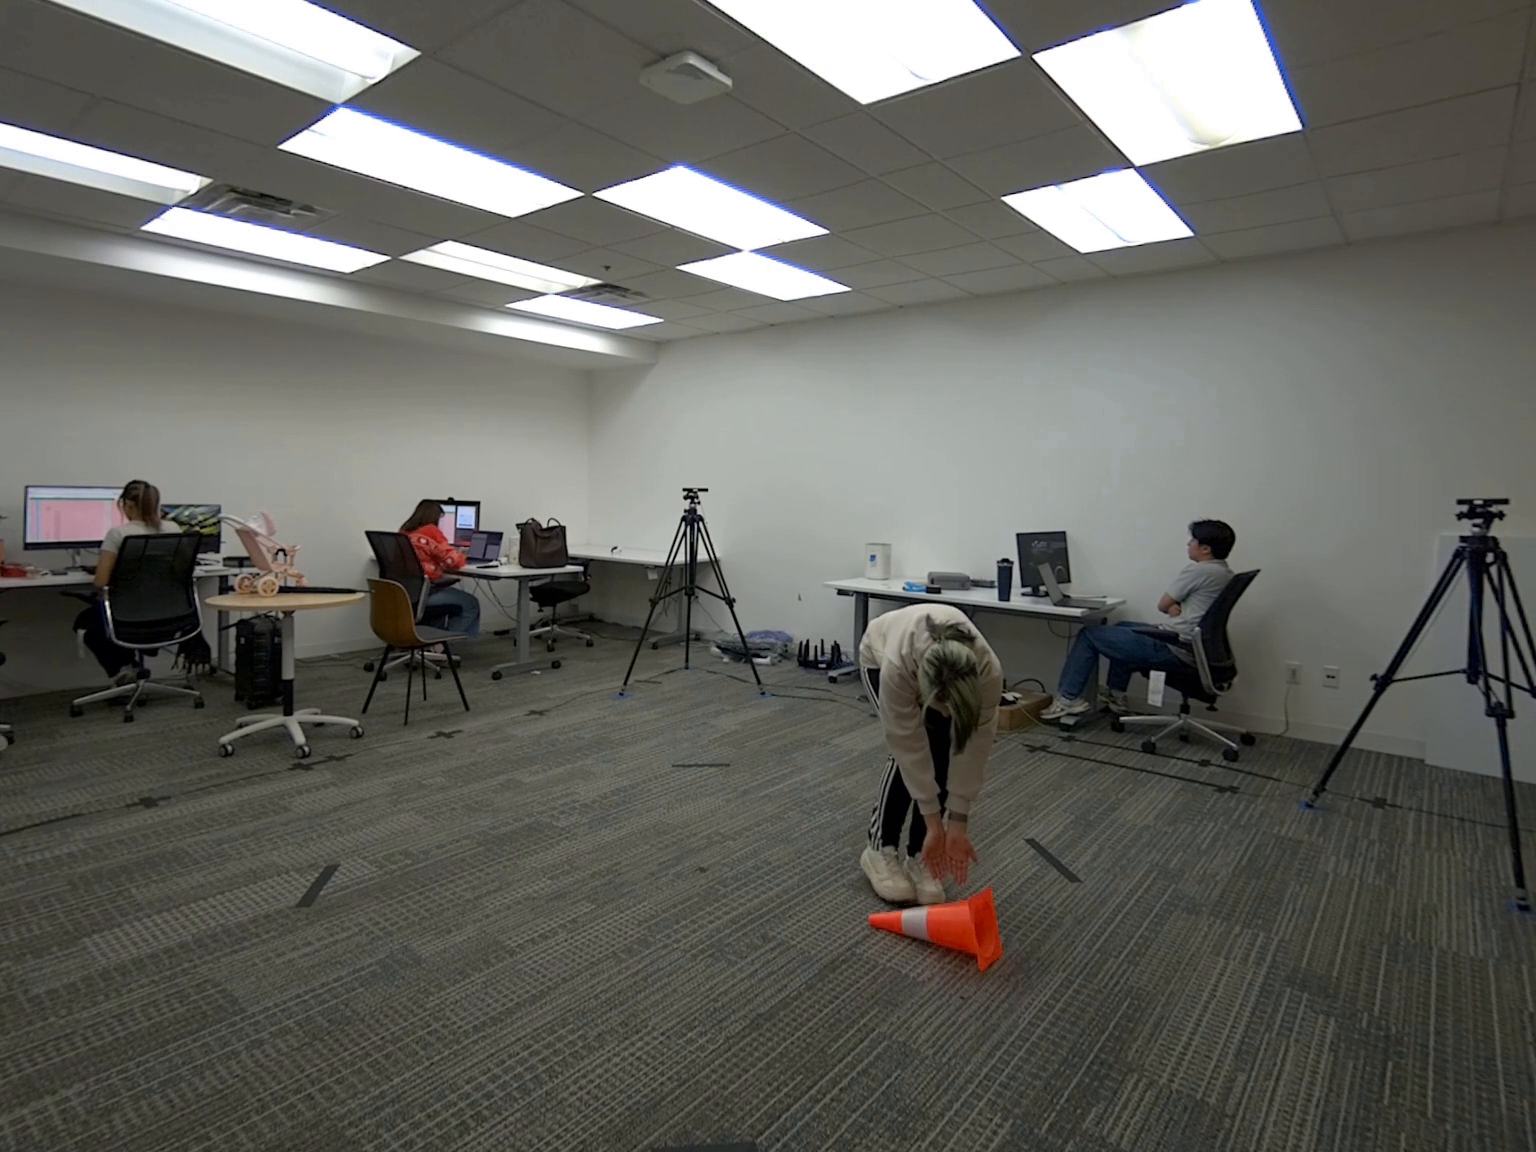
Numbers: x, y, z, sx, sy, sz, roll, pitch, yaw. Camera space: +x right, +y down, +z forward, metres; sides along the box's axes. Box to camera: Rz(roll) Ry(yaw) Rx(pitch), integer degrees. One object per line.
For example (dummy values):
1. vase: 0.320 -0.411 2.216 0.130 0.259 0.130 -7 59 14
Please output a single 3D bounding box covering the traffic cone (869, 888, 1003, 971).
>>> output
1. traffic cone: 0.486 1.071 2.638 0.393 0.206 0.198 -11 -12 34
